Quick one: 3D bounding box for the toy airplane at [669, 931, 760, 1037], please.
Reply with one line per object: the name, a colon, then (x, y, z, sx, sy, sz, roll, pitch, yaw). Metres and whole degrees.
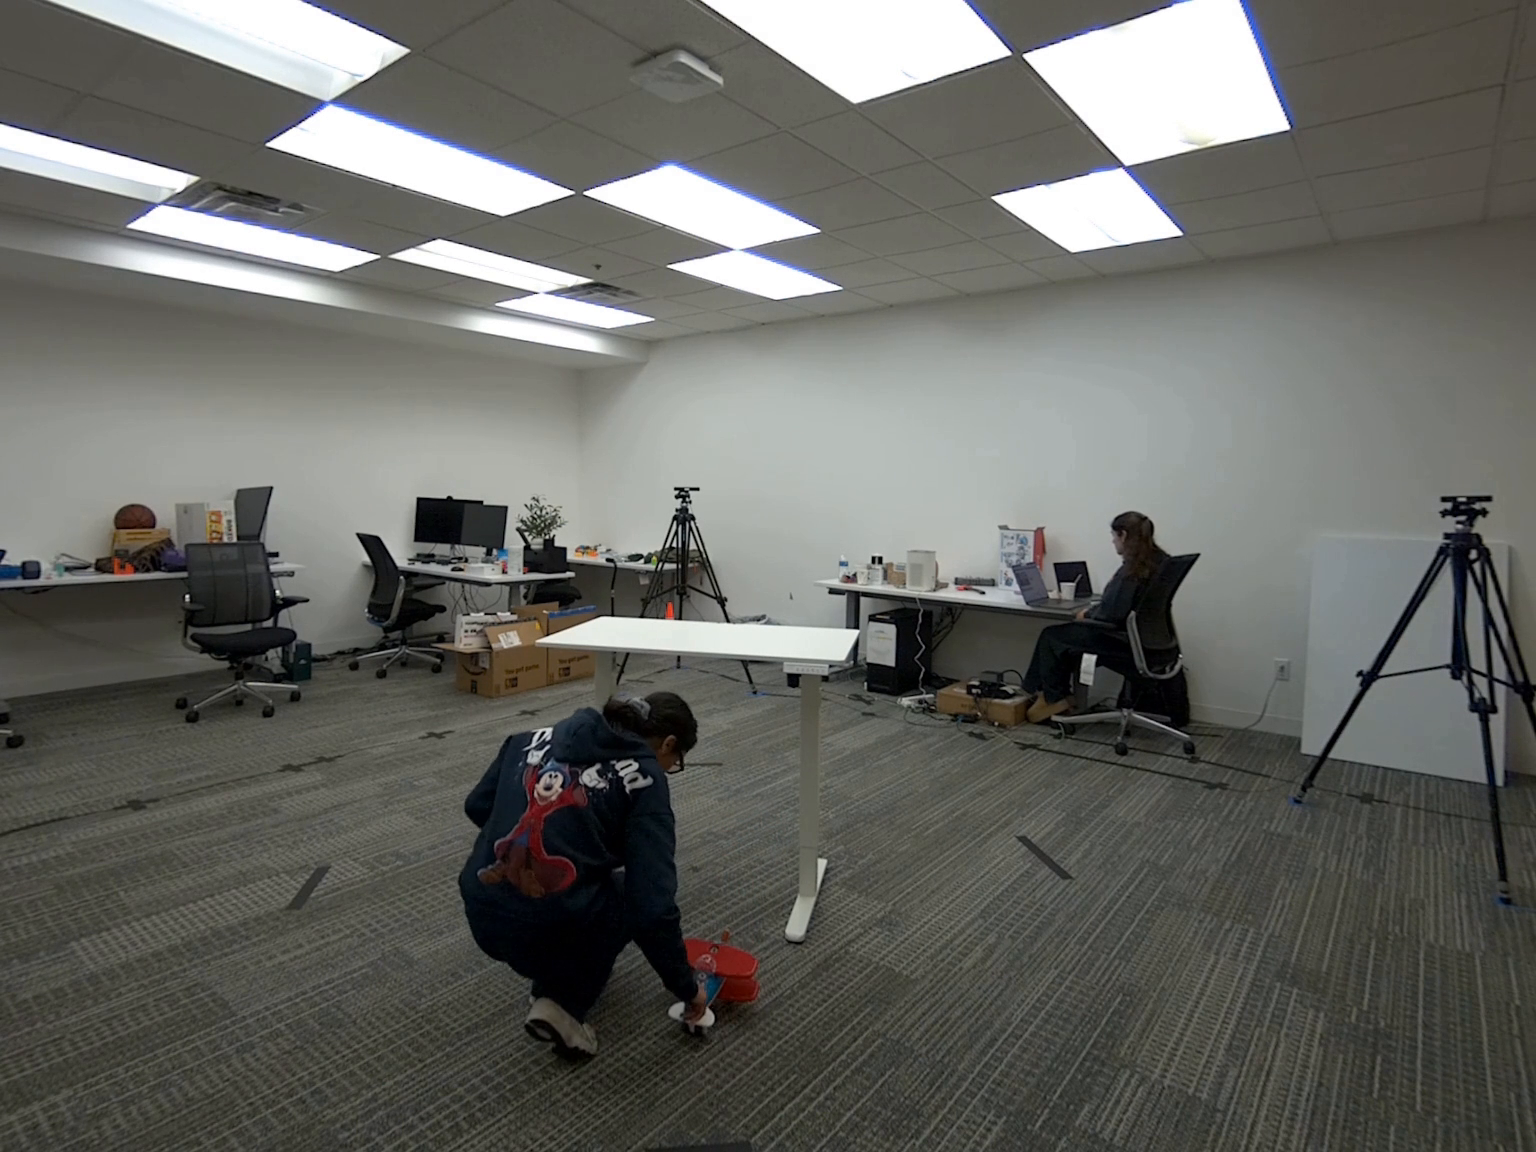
toy airplane: (-0.138, 1.086, 2.252, 0.248, 0.156, 0.263, -2, 4, -13)
